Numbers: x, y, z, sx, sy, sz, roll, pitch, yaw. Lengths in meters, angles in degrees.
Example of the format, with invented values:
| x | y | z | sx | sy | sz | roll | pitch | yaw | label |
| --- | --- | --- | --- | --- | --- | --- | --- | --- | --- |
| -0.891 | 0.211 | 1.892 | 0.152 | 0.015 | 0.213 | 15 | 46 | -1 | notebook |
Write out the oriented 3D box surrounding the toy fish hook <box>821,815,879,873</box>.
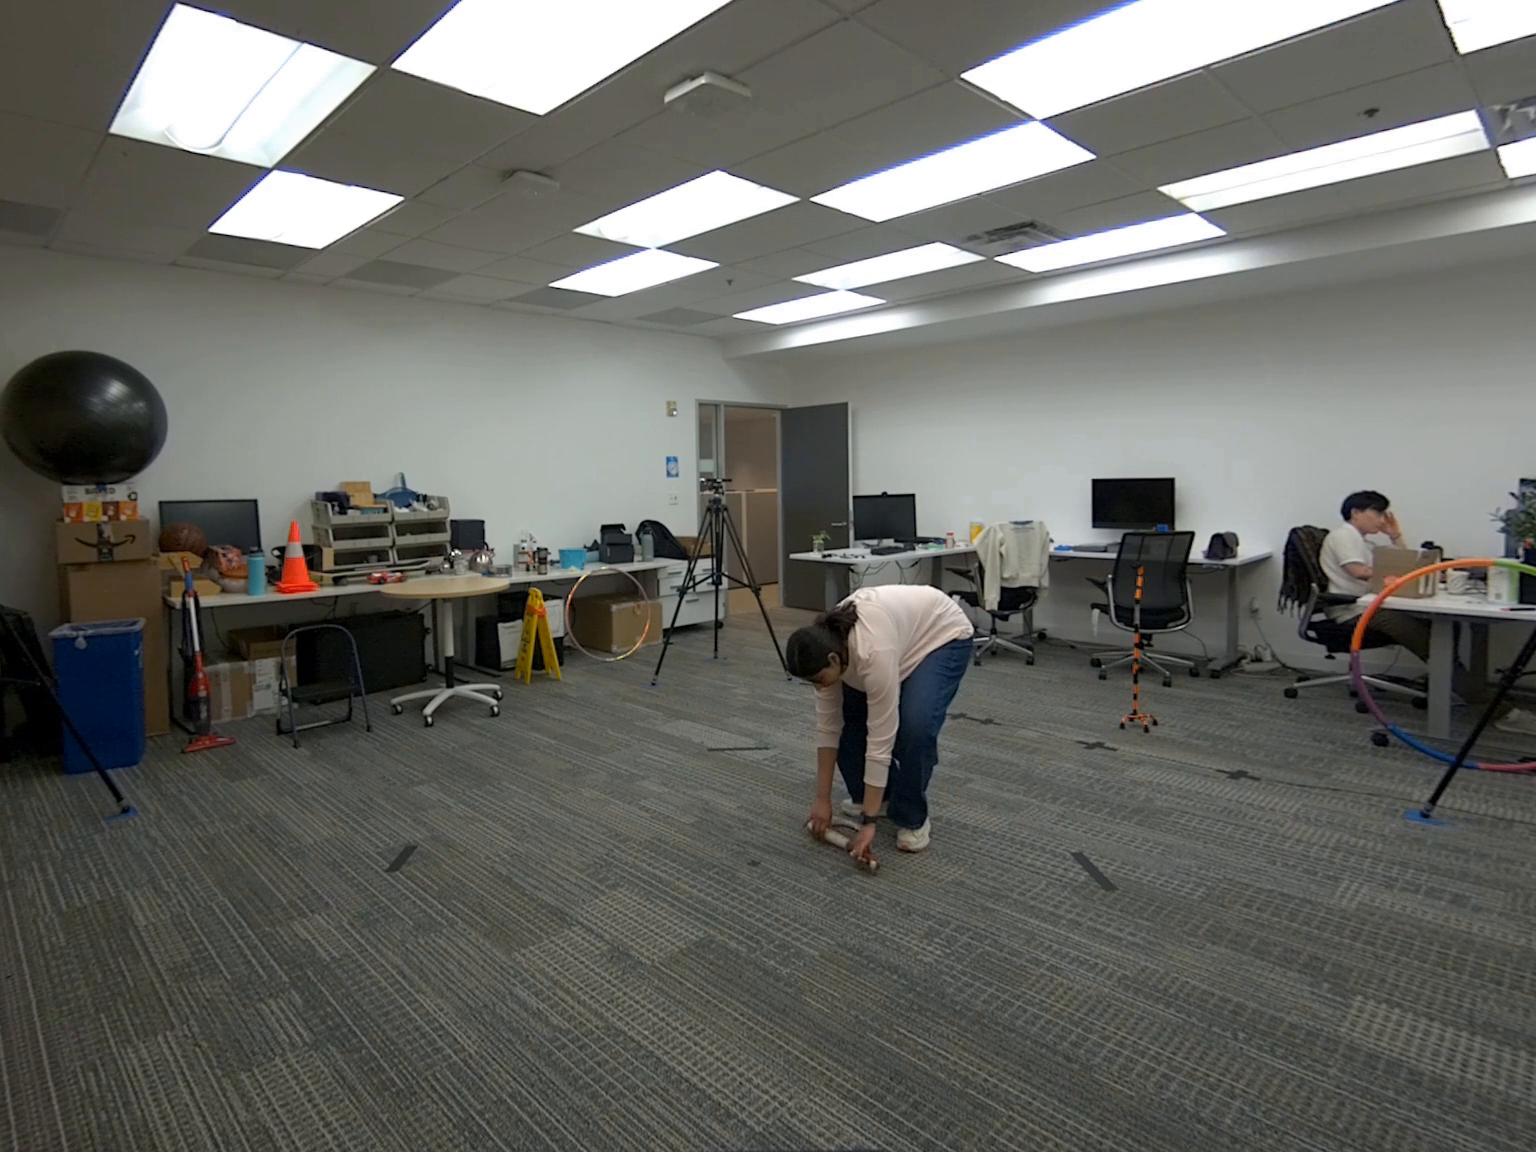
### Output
| x | y | z | sx | sy | sz | roll | pitch | yaw | label |
| --- | --- | --- | --- | --- | --- | --- | --- | --- | --- |
| 0.323 | 0.989 | 3.228 | 0.220 | 0.048 | 0.517 | -3 | 5 | -22 | toy fish hook |
